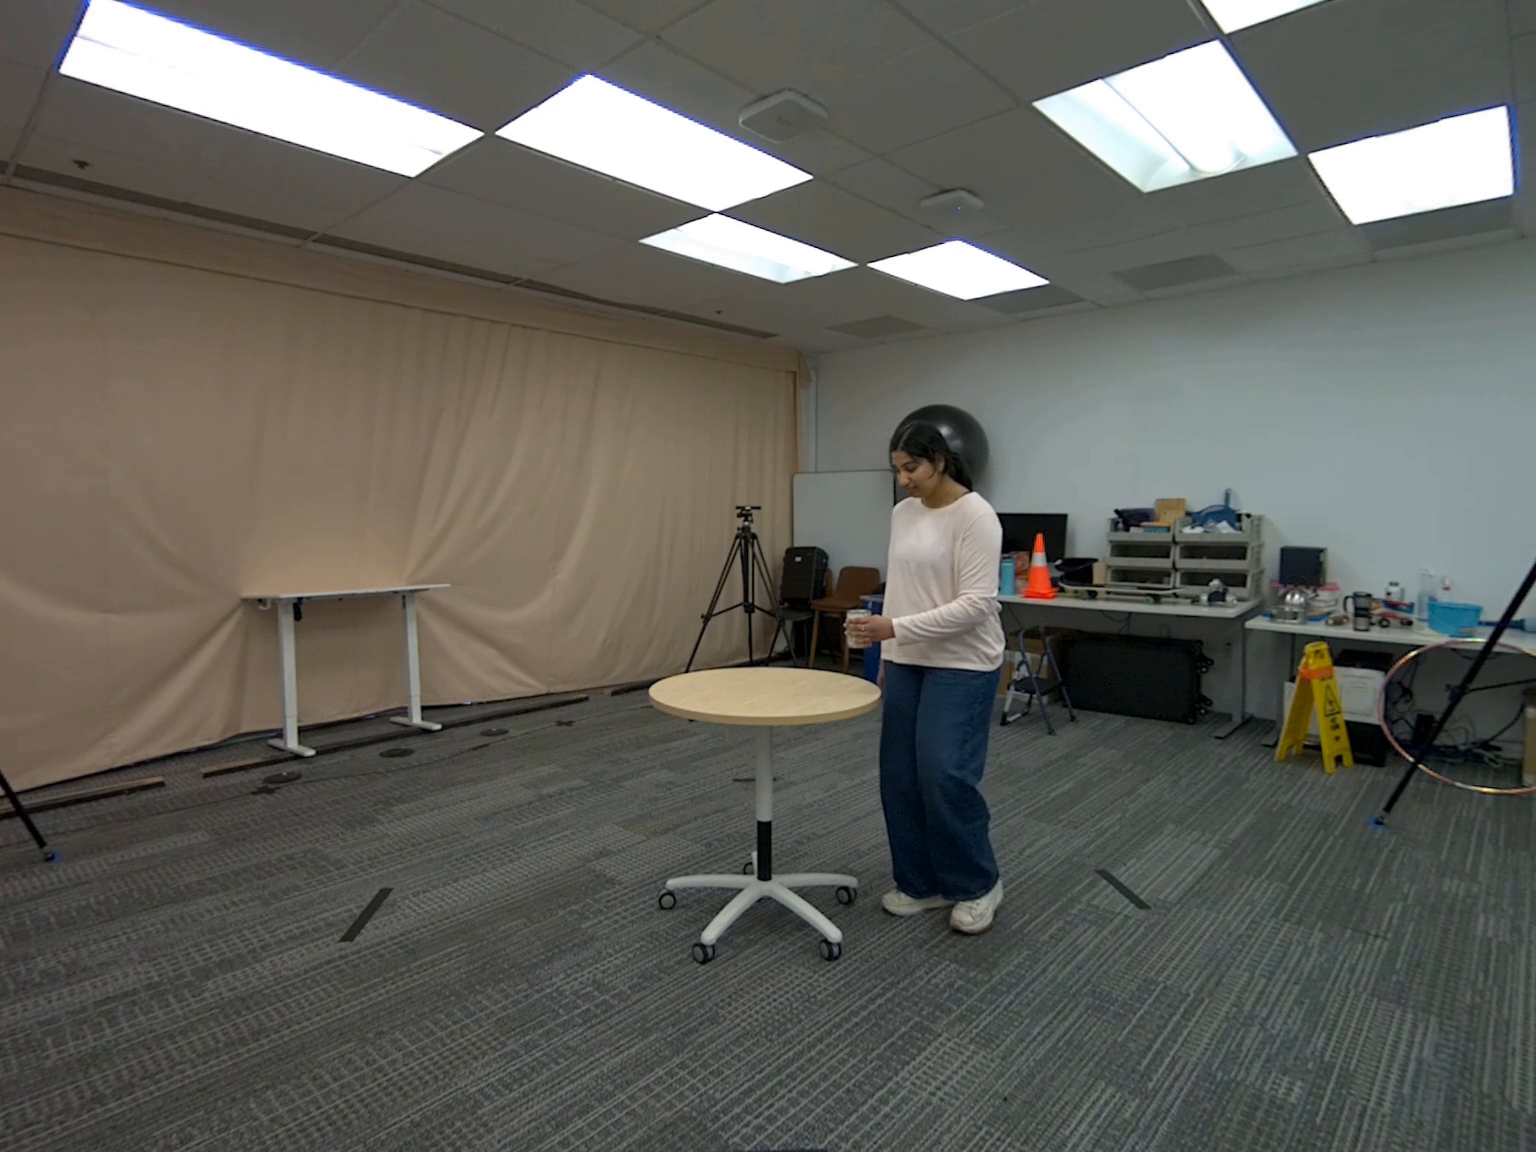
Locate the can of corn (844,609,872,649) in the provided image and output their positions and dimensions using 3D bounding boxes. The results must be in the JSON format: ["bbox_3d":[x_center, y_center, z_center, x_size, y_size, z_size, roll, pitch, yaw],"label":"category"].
[{"bbox_3d":[0.305,0.169,2.670,0.074,0.111,0.074,-3,4,-2],"label":"can of corn"}]
